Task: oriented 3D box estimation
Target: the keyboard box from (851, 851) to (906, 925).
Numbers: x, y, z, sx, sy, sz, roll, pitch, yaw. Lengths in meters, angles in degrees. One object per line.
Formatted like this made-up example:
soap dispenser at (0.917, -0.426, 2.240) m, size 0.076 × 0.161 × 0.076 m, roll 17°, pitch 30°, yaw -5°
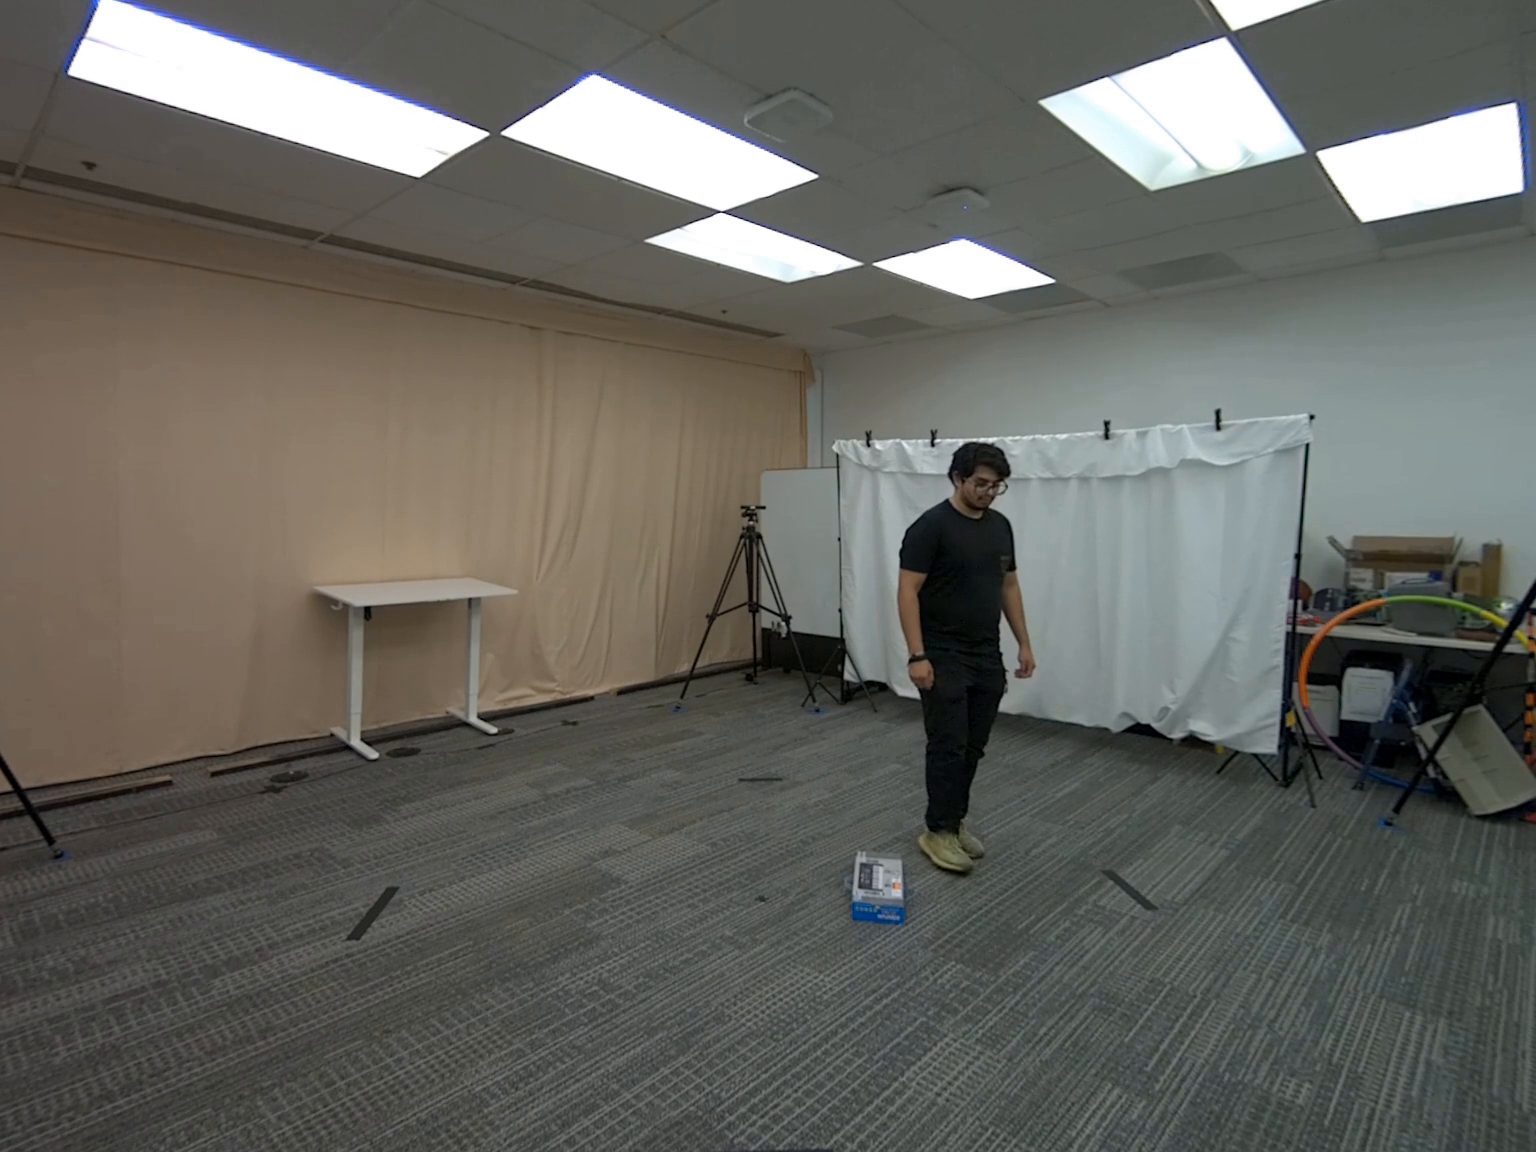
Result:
keyboard box at (0.402, 1.109, 3.023) m, size 0.178 × 0.059 × 0.433 m, roll 1°, pitch 5°, yaw 8°
